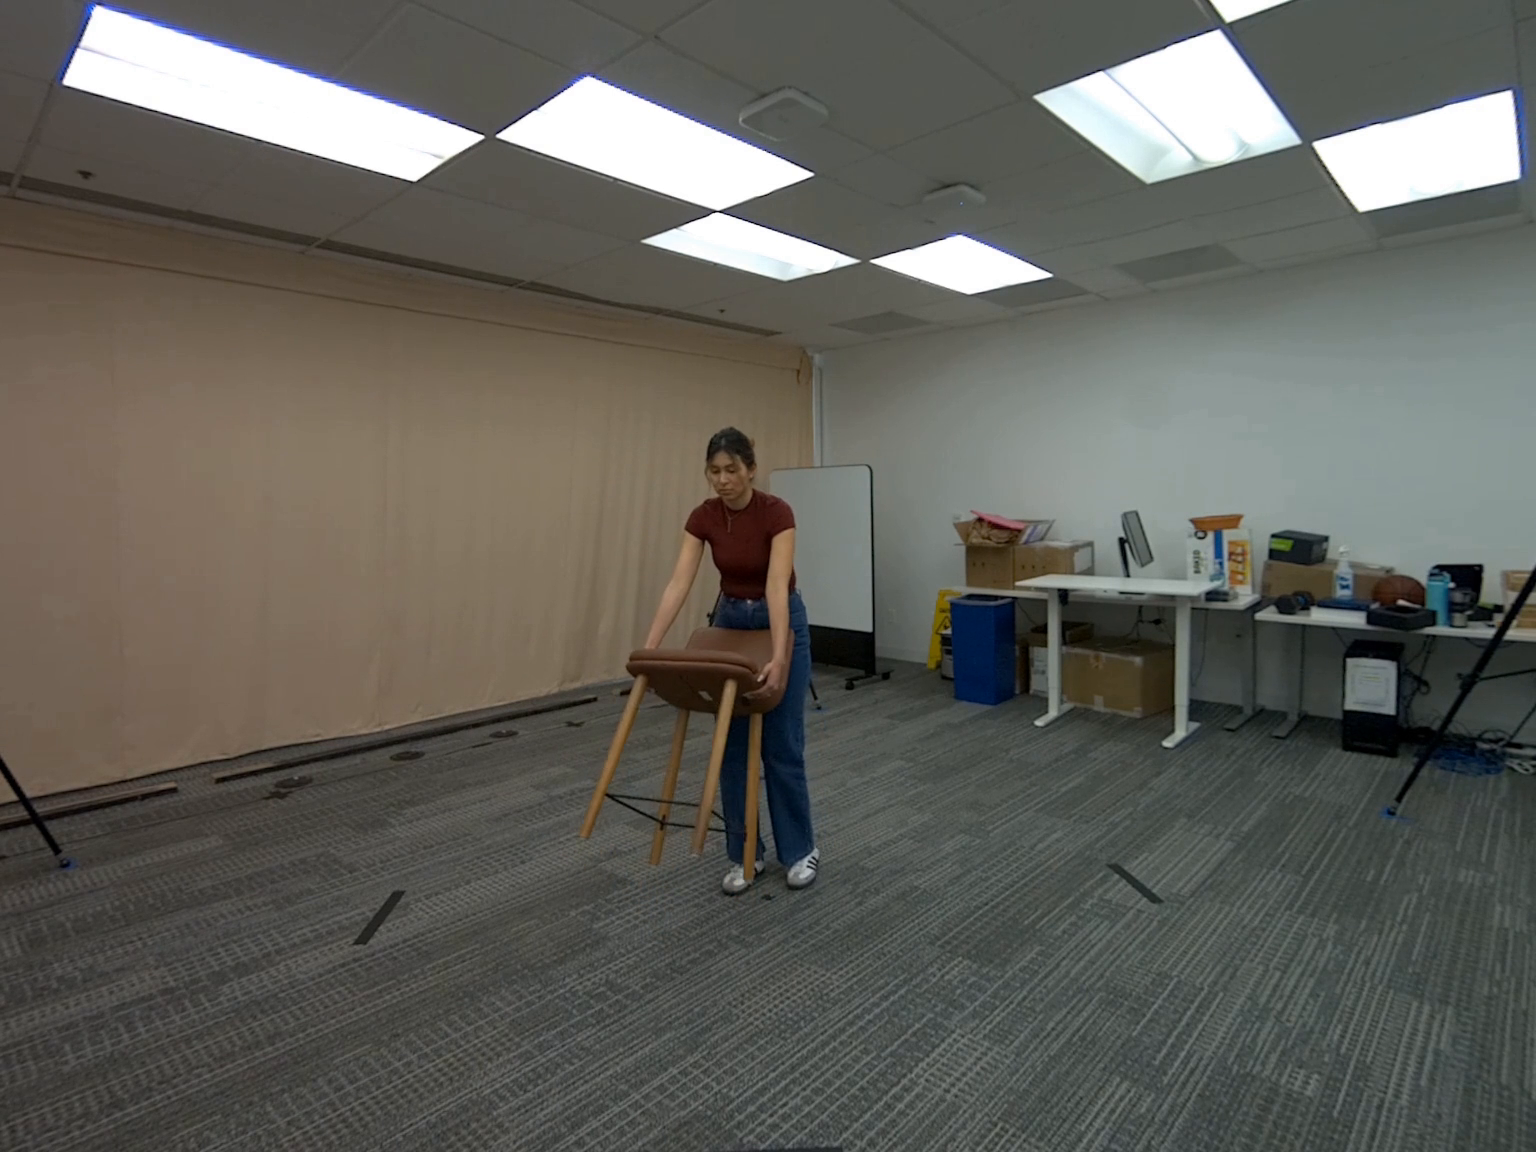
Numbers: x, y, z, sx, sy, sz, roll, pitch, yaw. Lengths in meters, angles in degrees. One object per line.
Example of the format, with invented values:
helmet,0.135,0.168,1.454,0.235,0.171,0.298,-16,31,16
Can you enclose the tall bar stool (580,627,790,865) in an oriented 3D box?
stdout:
tall bar stool,-0.214,0.489,2.760,0.468,0.898,0.452,-2,-30,25
